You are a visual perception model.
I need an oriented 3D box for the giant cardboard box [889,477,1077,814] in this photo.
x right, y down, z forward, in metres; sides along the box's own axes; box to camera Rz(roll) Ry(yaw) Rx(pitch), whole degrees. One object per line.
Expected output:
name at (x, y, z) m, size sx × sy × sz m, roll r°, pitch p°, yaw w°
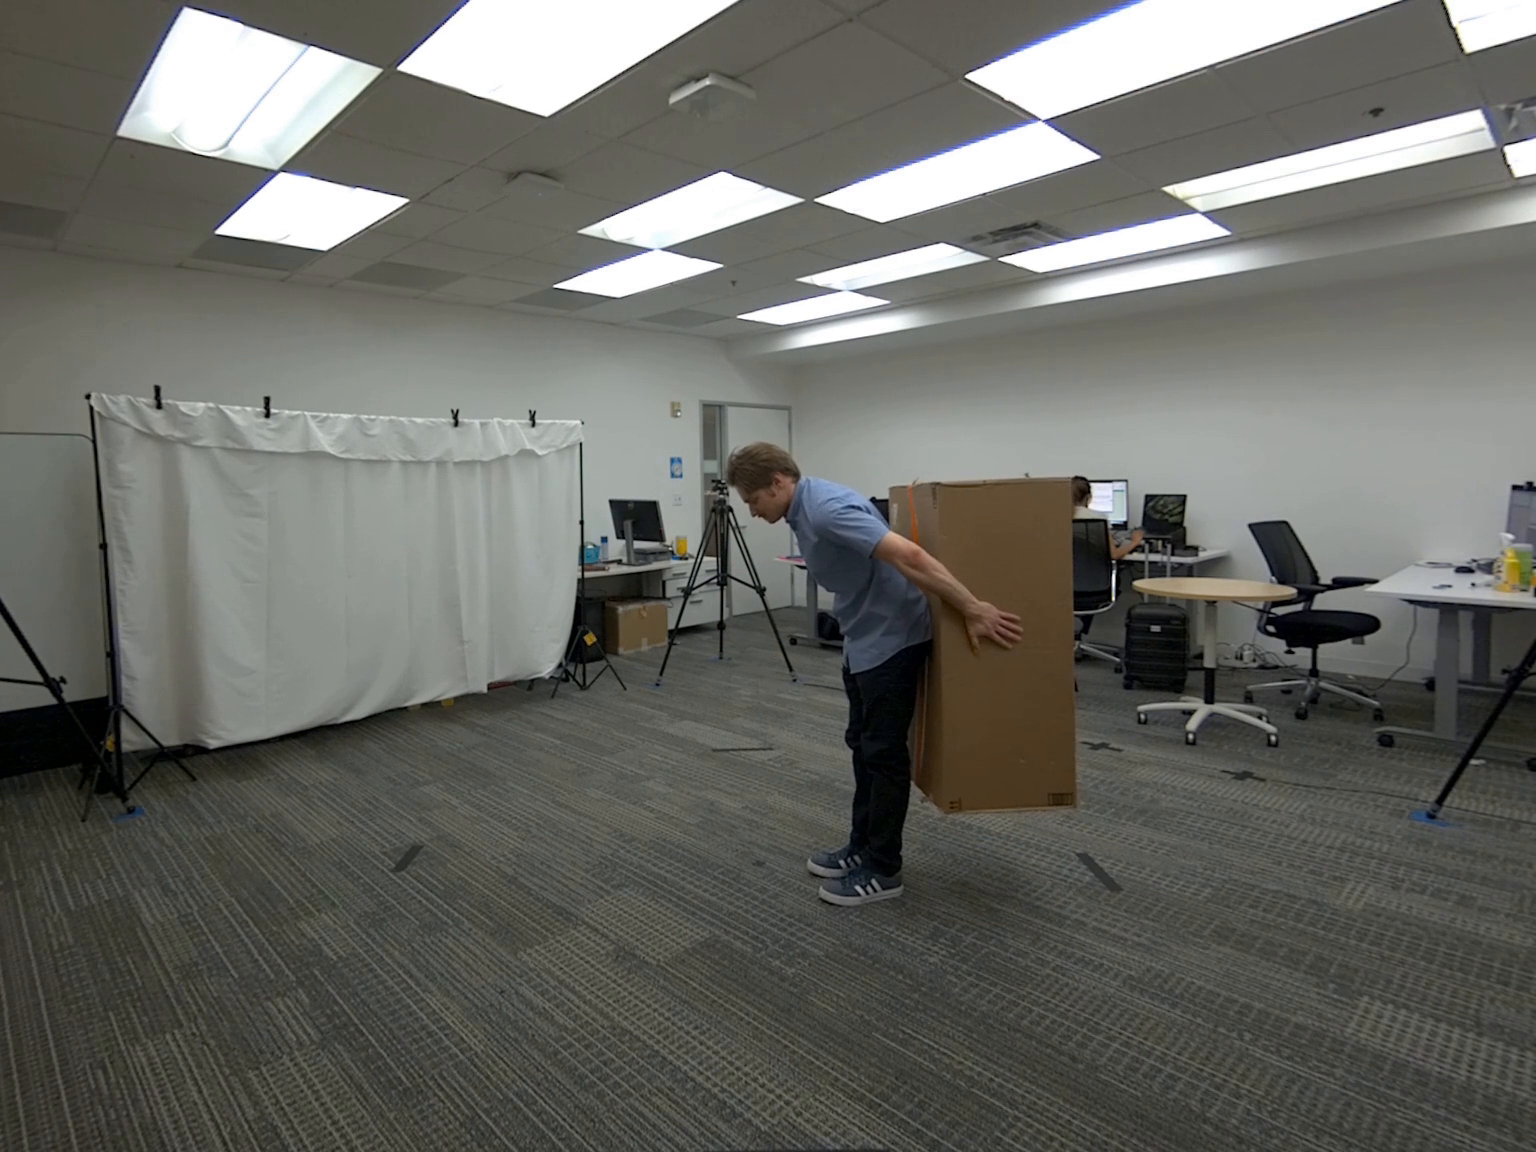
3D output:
giant cardboard box at (0.707, 0.202, 2.877) m, size 0.445 × 1.025 × 0.587 m, roll -1°, pitch 2°, yaw -5°
